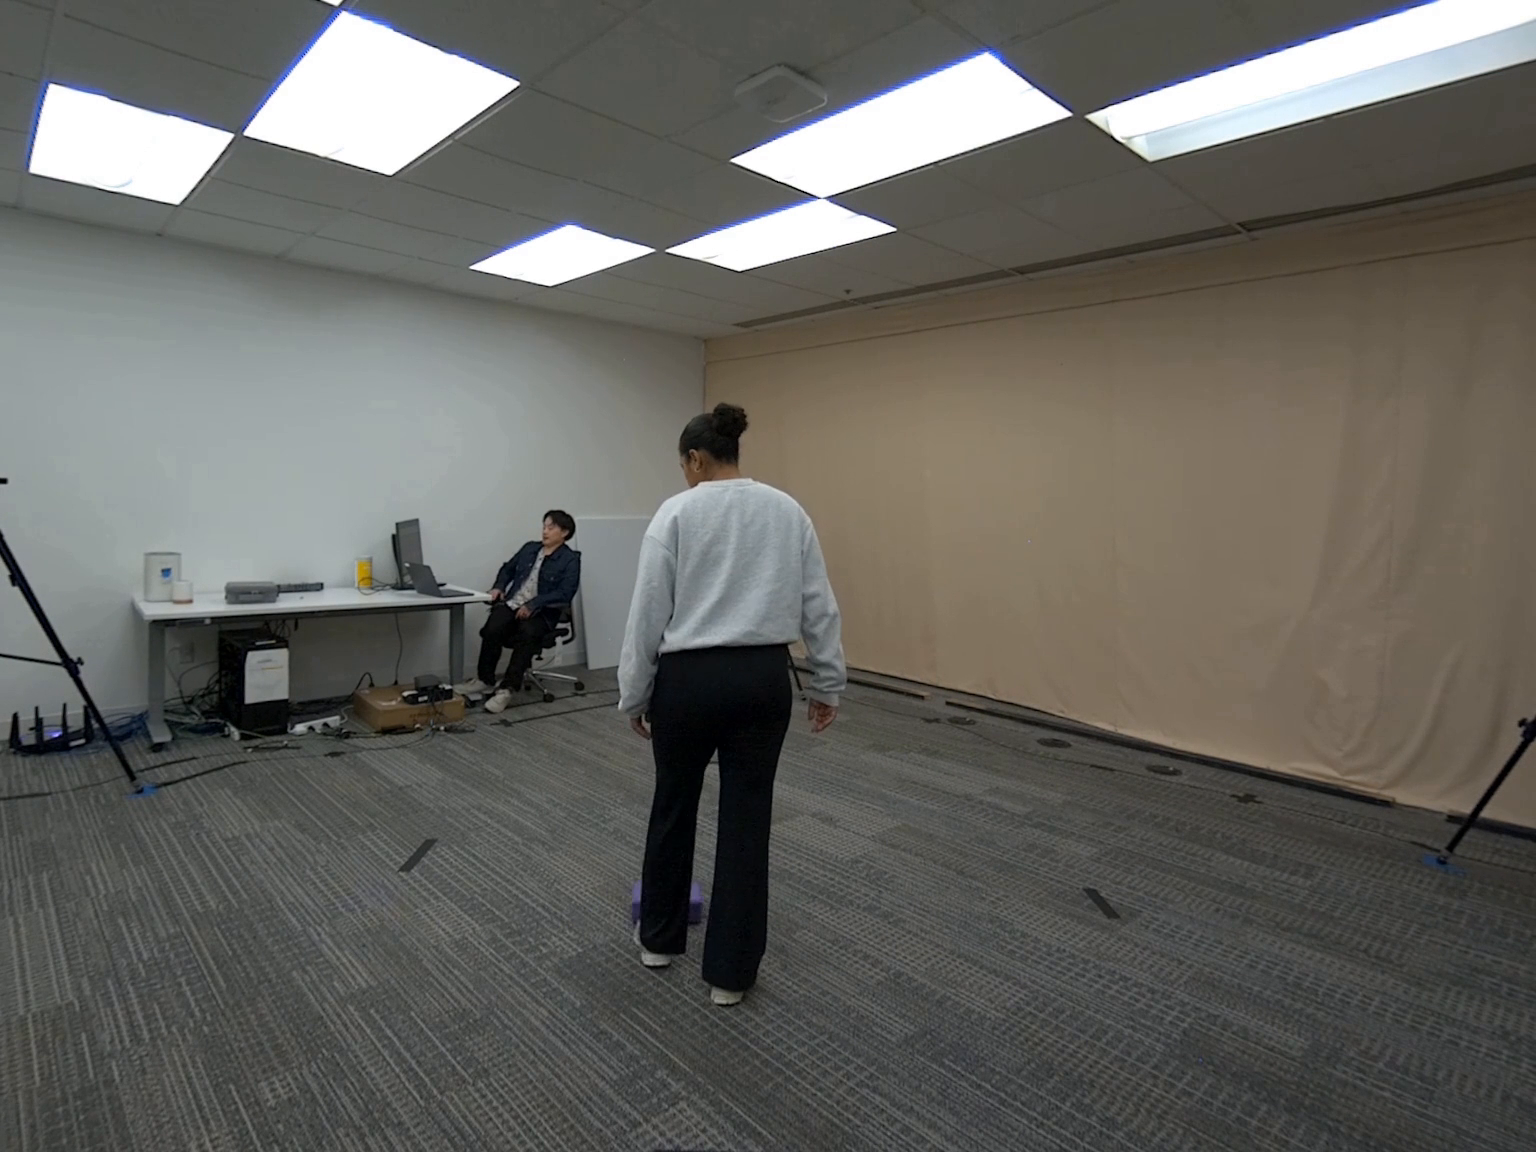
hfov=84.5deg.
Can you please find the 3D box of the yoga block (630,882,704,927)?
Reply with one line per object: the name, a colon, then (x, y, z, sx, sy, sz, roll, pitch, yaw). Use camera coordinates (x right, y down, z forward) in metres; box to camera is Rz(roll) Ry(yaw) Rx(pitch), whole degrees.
yoga block: (-0.356, 1.094, 2.778, 0.228, 0.076, 0.150, 2, 4, -5)
